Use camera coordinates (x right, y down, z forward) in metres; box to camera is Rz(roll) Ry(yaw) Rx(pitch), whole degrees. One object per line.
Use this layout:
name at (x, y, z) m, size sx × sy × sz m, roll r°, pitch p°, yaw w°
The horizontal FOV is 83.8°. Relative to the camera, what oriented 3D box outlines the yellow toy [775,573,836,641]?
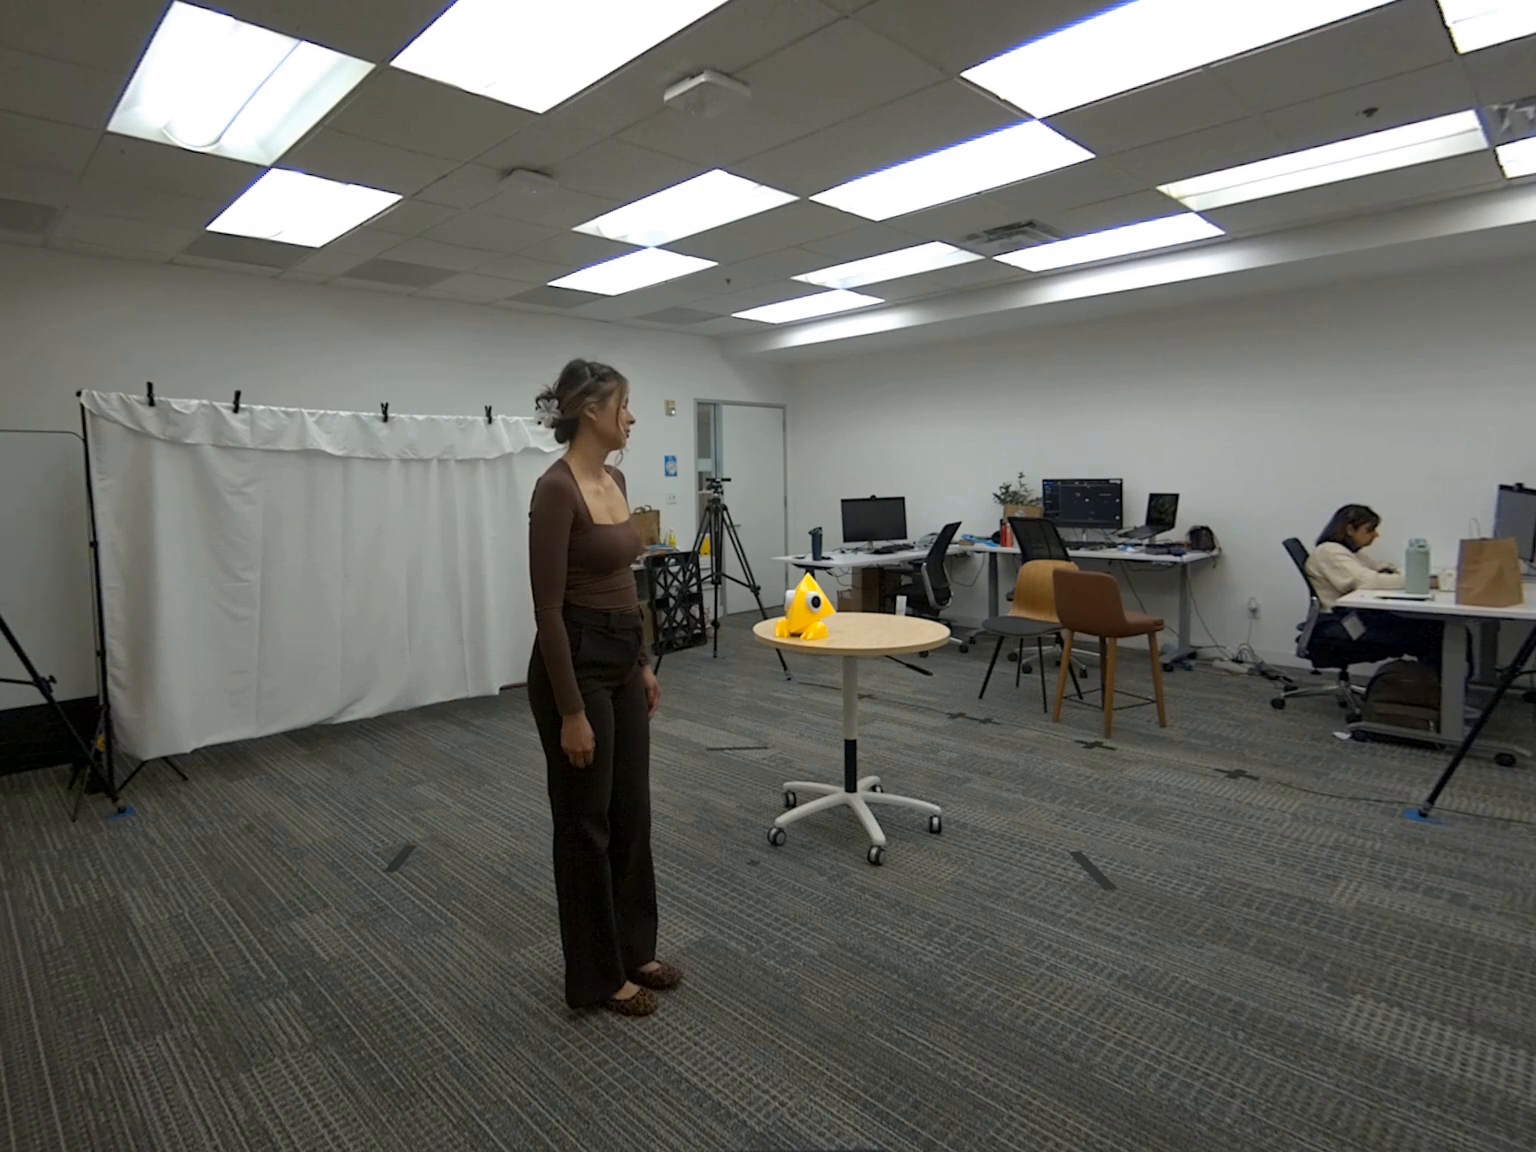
yellow toy at (0.131, 0.110, 3.256) m, size 0.210 × 0.230 × 0.189 m, roll 2°, pitch 6°, yaw 28°
